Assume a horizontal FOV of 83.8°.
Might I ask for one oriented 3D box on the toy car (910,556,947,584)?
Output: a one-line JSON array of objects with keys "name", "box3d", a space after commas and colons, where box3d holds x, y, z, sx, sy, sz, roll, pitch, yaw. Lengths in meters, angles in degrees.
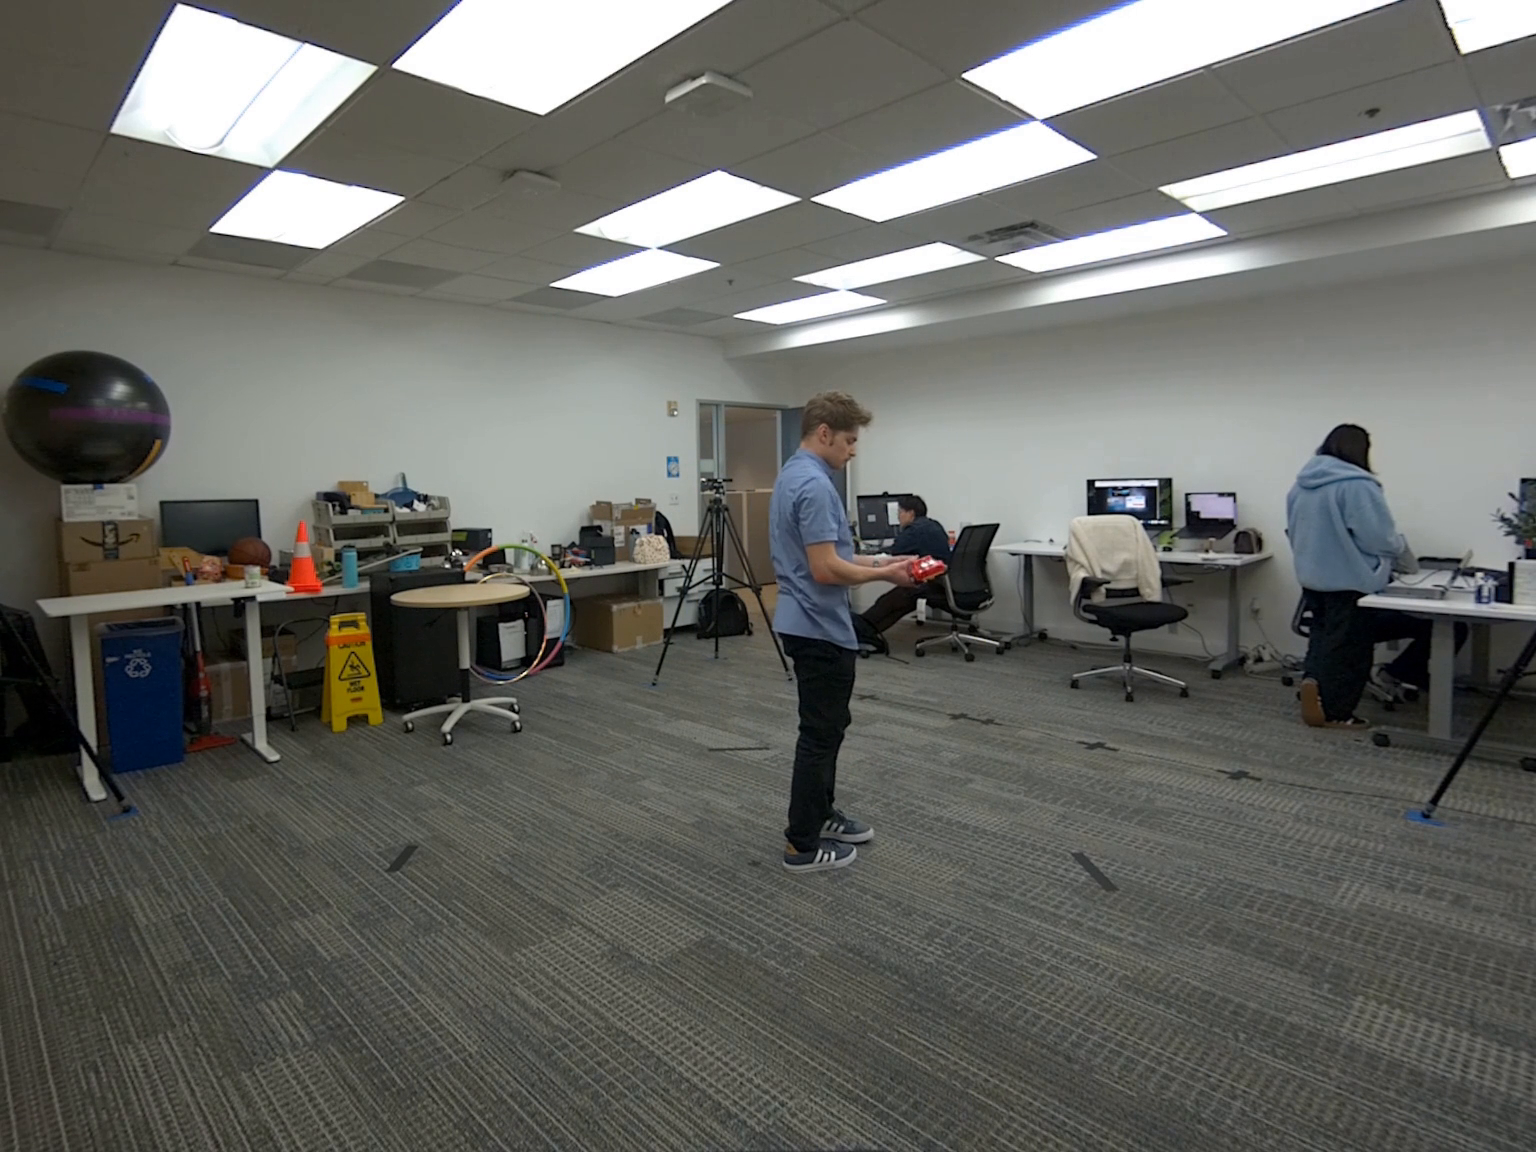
[{"name": "toy car", "box3d": [0.531, -0.017, 2.992, 0.130, 0.083, 0.254, -21, -2, -6]}]
